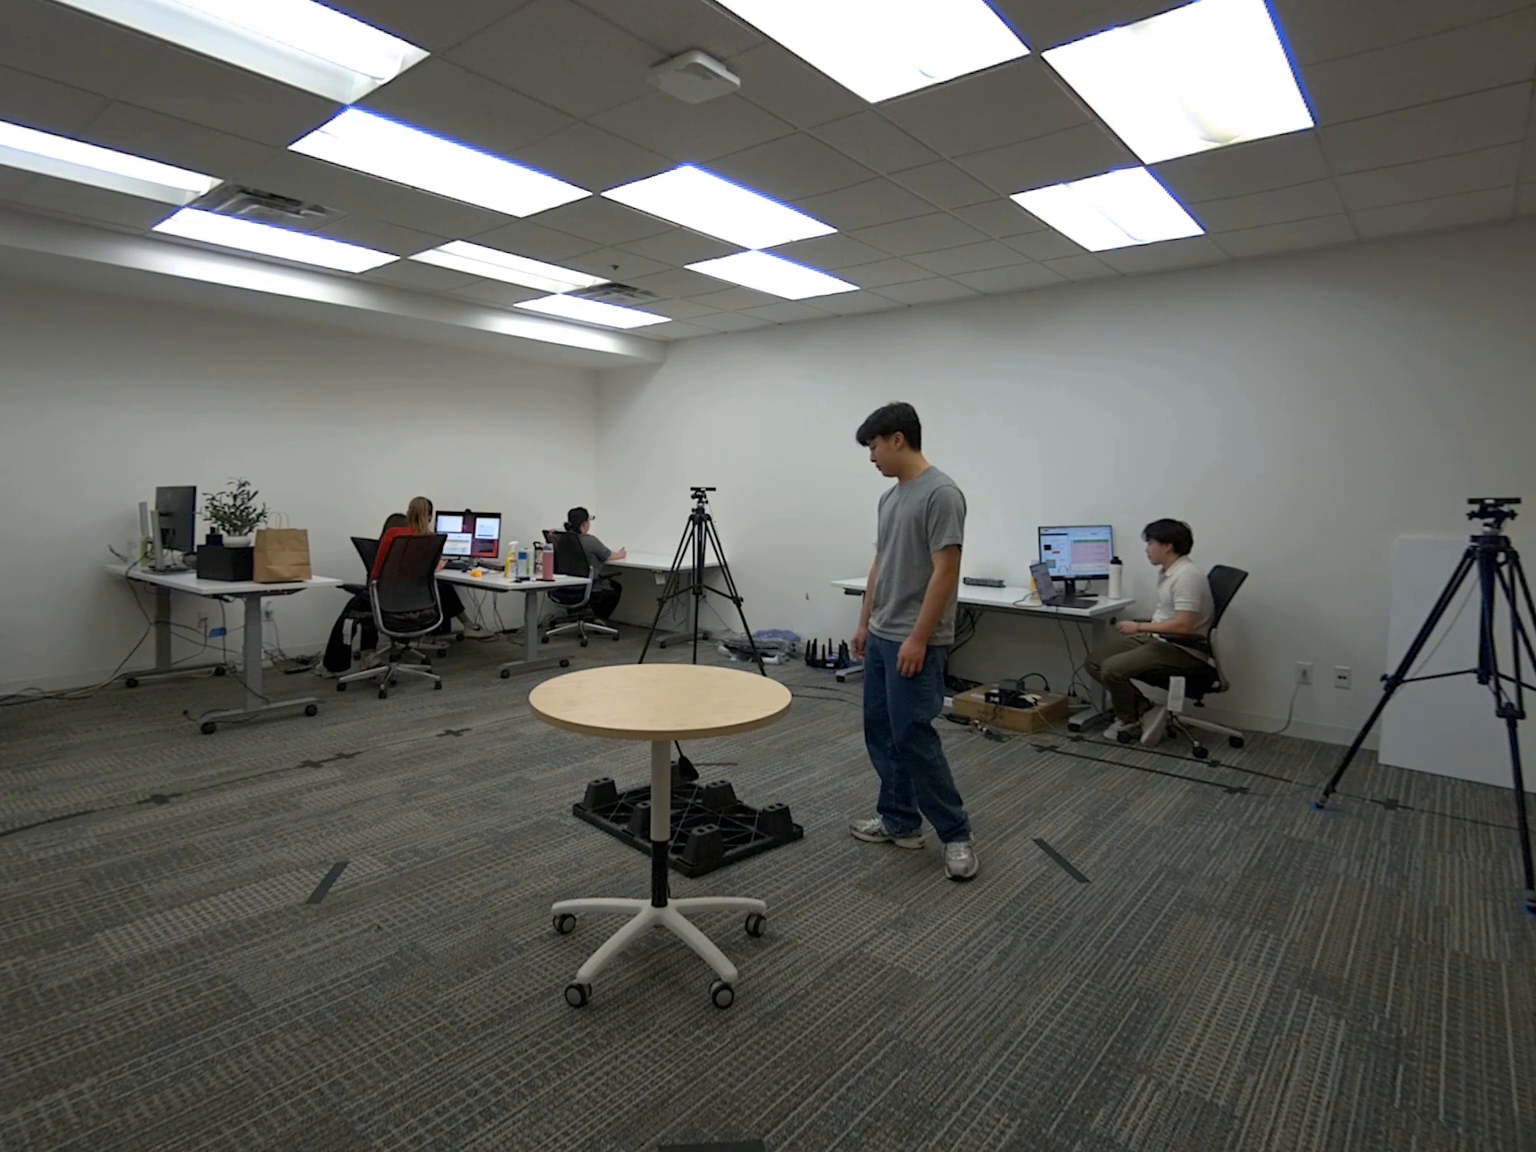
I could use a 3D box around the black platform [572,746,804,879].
[{"bbox_3d":[-0.357,0.958,3.505,0.587,0.143,0.833,-4,7,-44],"label":"black platform"}]
